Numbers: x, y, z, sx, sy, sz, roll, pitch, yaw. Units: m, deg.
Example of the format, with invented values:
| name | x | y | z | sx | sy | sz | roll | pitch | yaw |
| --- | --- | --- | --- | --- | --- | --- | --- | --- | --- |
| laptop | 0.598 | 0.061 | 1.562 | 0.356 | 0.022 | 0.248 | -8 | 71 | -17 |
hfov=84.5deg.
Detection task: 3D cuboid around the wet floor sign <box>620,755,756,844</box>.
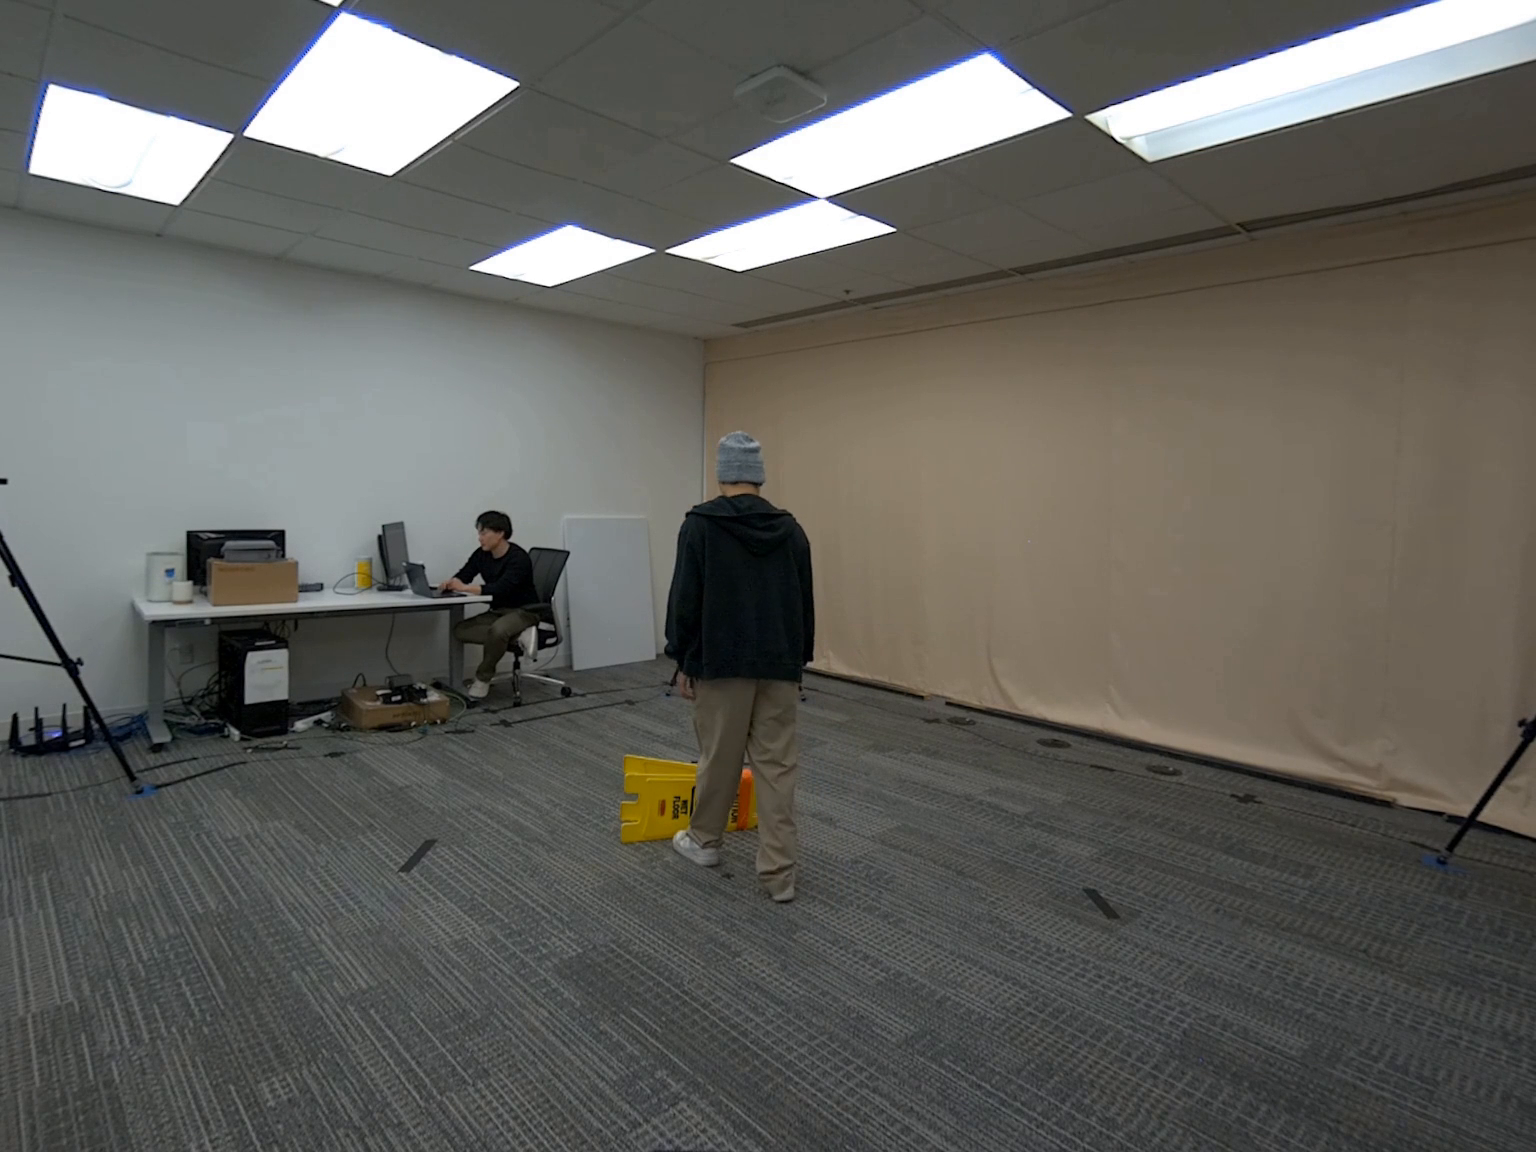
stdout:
| name | x | y | z | sx | sy | sz | roll | pitch | yaw |
| --- | --- | --- | --- | --- | --- | --- | --- | --- | --- |
| wet floor sign | -0.298 | 0.939 | 3.553 | 0.641 | 0.282 | 0.292 | 4 | 3 | -9 |
